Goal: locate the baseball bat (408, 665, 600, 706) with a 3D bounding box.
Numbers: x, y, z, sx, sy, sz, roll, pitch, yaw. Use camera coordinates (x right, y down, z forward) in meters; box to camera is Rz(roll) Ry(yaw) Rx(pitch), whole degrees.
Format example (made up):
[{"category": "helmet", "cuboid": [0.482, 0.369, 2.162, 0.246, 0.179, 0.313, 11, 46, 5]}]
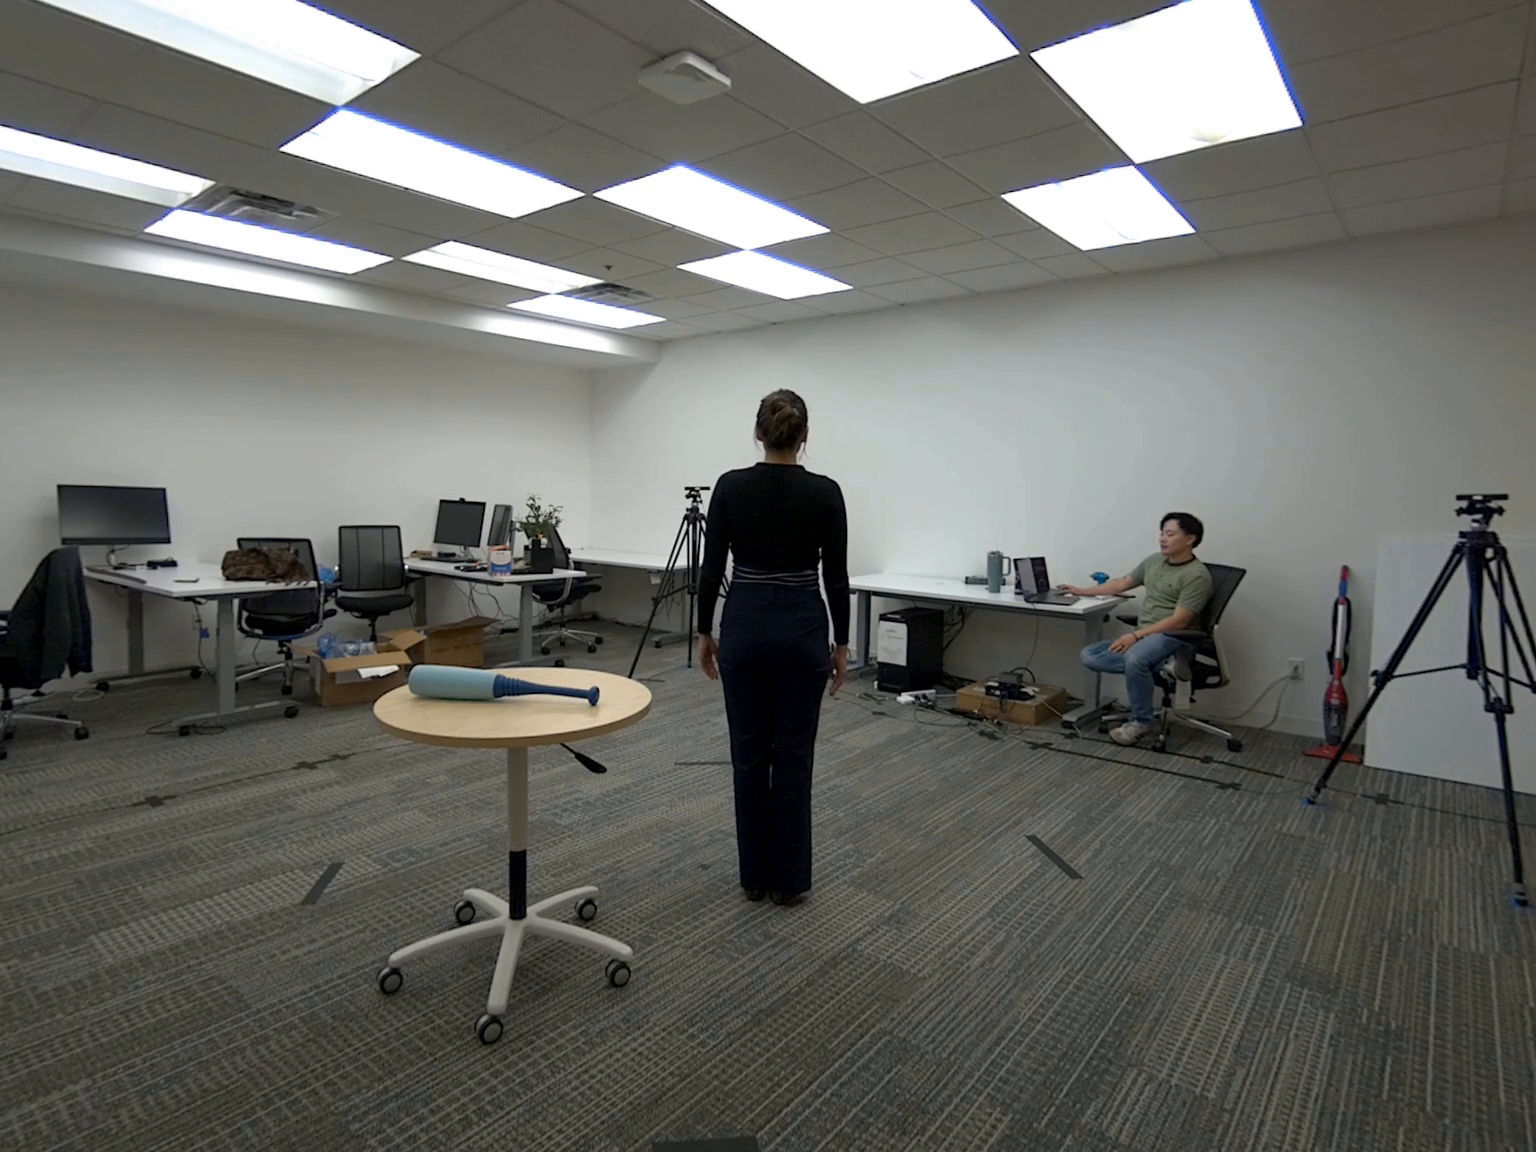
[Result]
[{"category": "baseball bat", "cuboid": [-0.751, 0.313, 2.384, 0.547, 0.089, 0.089, 3, 4, 6]}]
